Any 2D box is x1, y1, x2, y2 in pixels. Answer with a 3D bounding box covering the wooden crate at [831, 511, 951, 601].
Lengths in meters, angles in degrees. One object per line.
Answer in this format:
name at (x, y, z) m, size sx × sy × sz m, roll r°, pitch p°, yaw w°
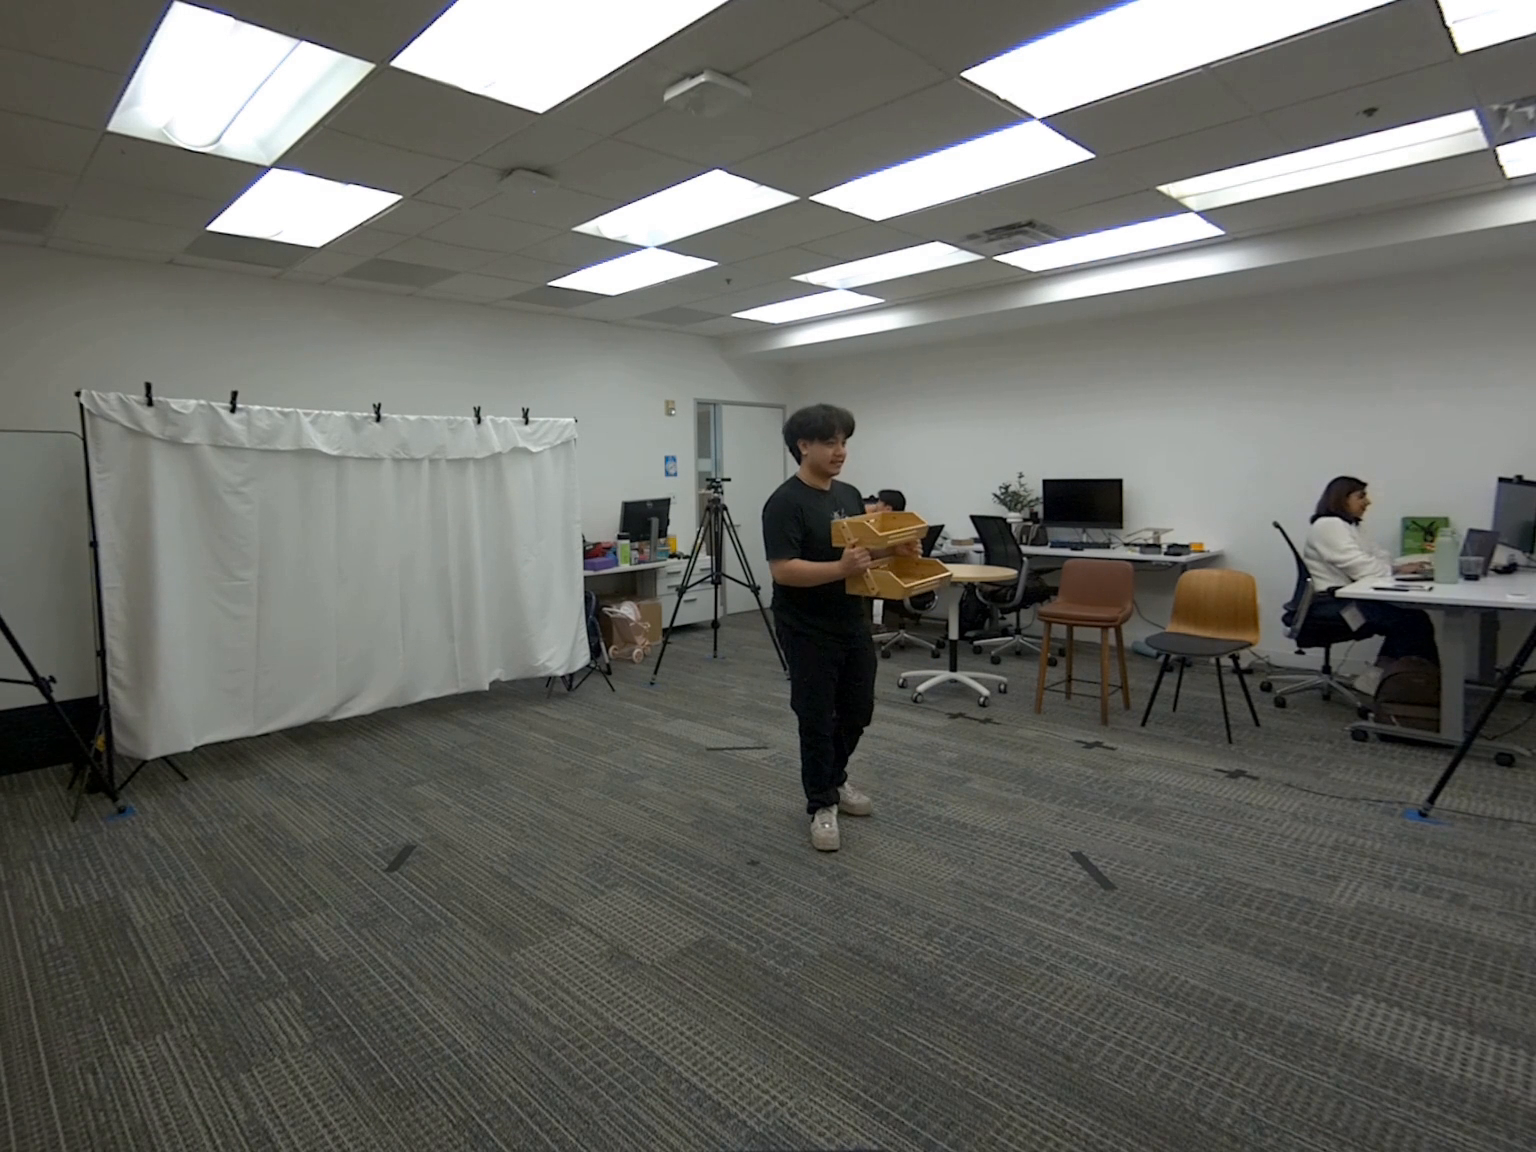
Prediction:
wooden crate at (0.445, -0.084, 3.045) m, size 0.317 × 0.271 × 0.311 m, roll -11°, pitch 11°, yaw -44°
